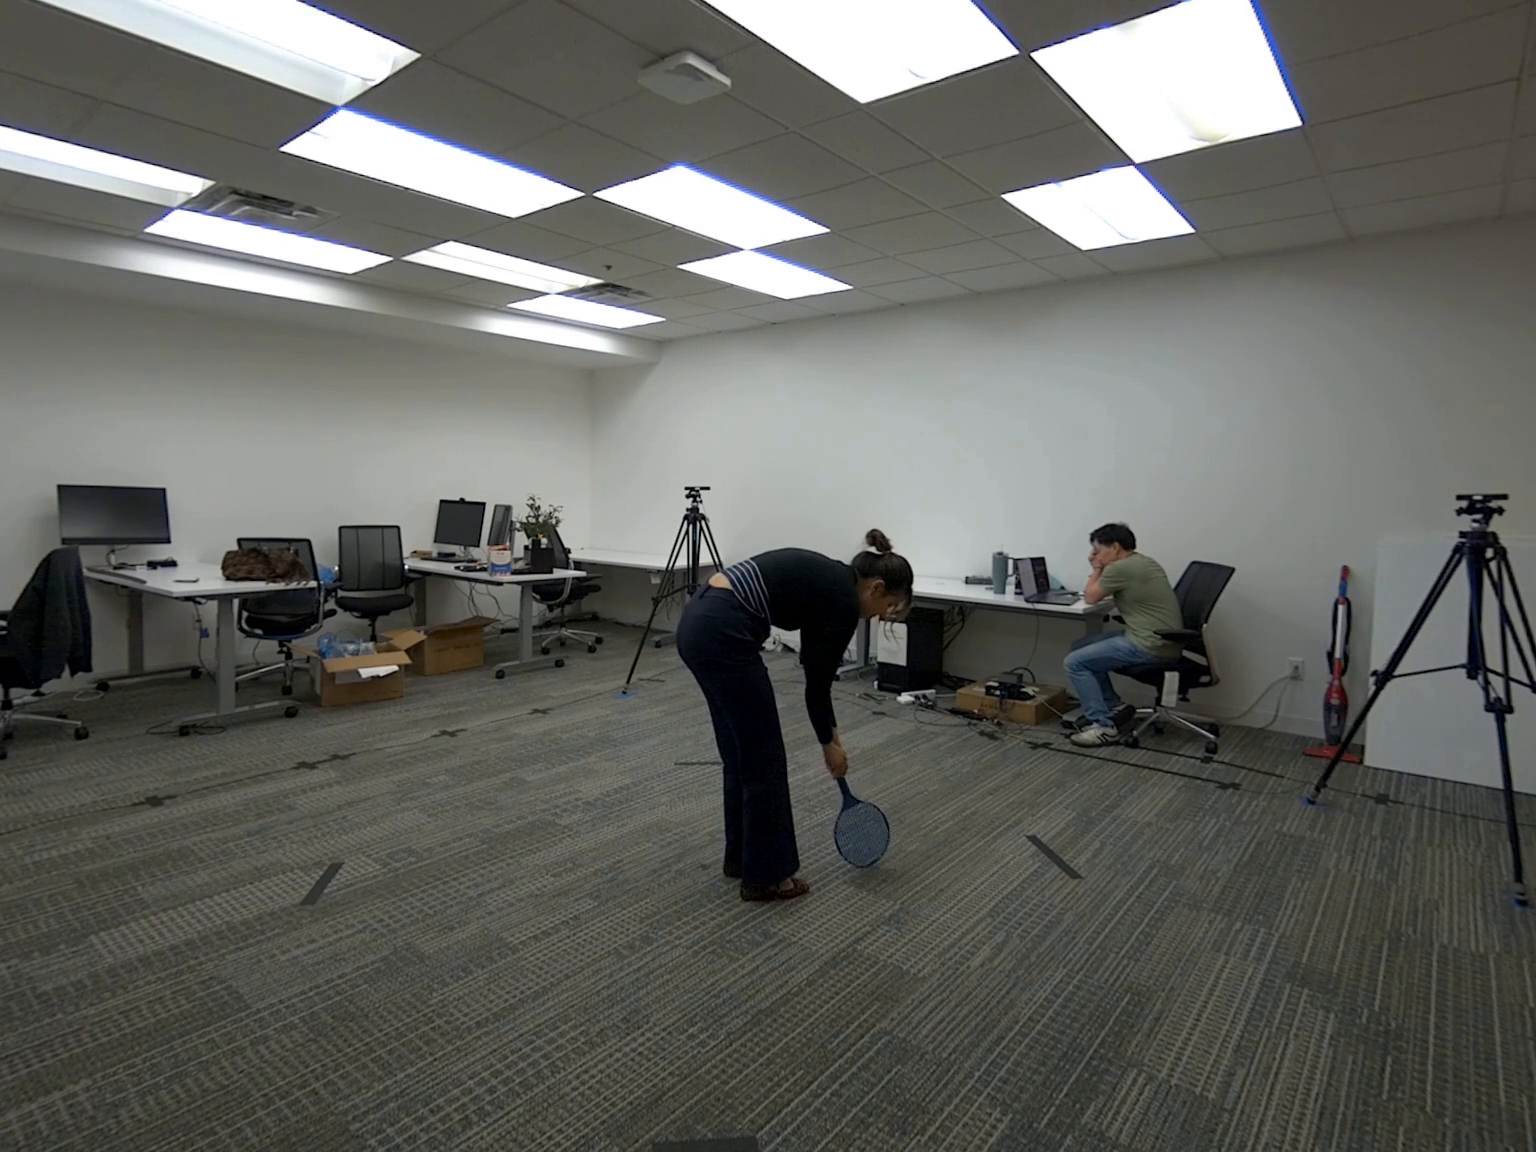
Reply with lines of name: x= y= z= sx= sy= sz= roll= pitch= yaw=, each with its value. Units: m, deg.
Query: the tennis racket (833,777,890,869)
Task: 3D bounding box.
tennis racket: x=0.313 y=0.876 z=3.089 sx=0.212 sy=0.425 sz=0.032 roll=-21 pitch=15 yaw=-13
